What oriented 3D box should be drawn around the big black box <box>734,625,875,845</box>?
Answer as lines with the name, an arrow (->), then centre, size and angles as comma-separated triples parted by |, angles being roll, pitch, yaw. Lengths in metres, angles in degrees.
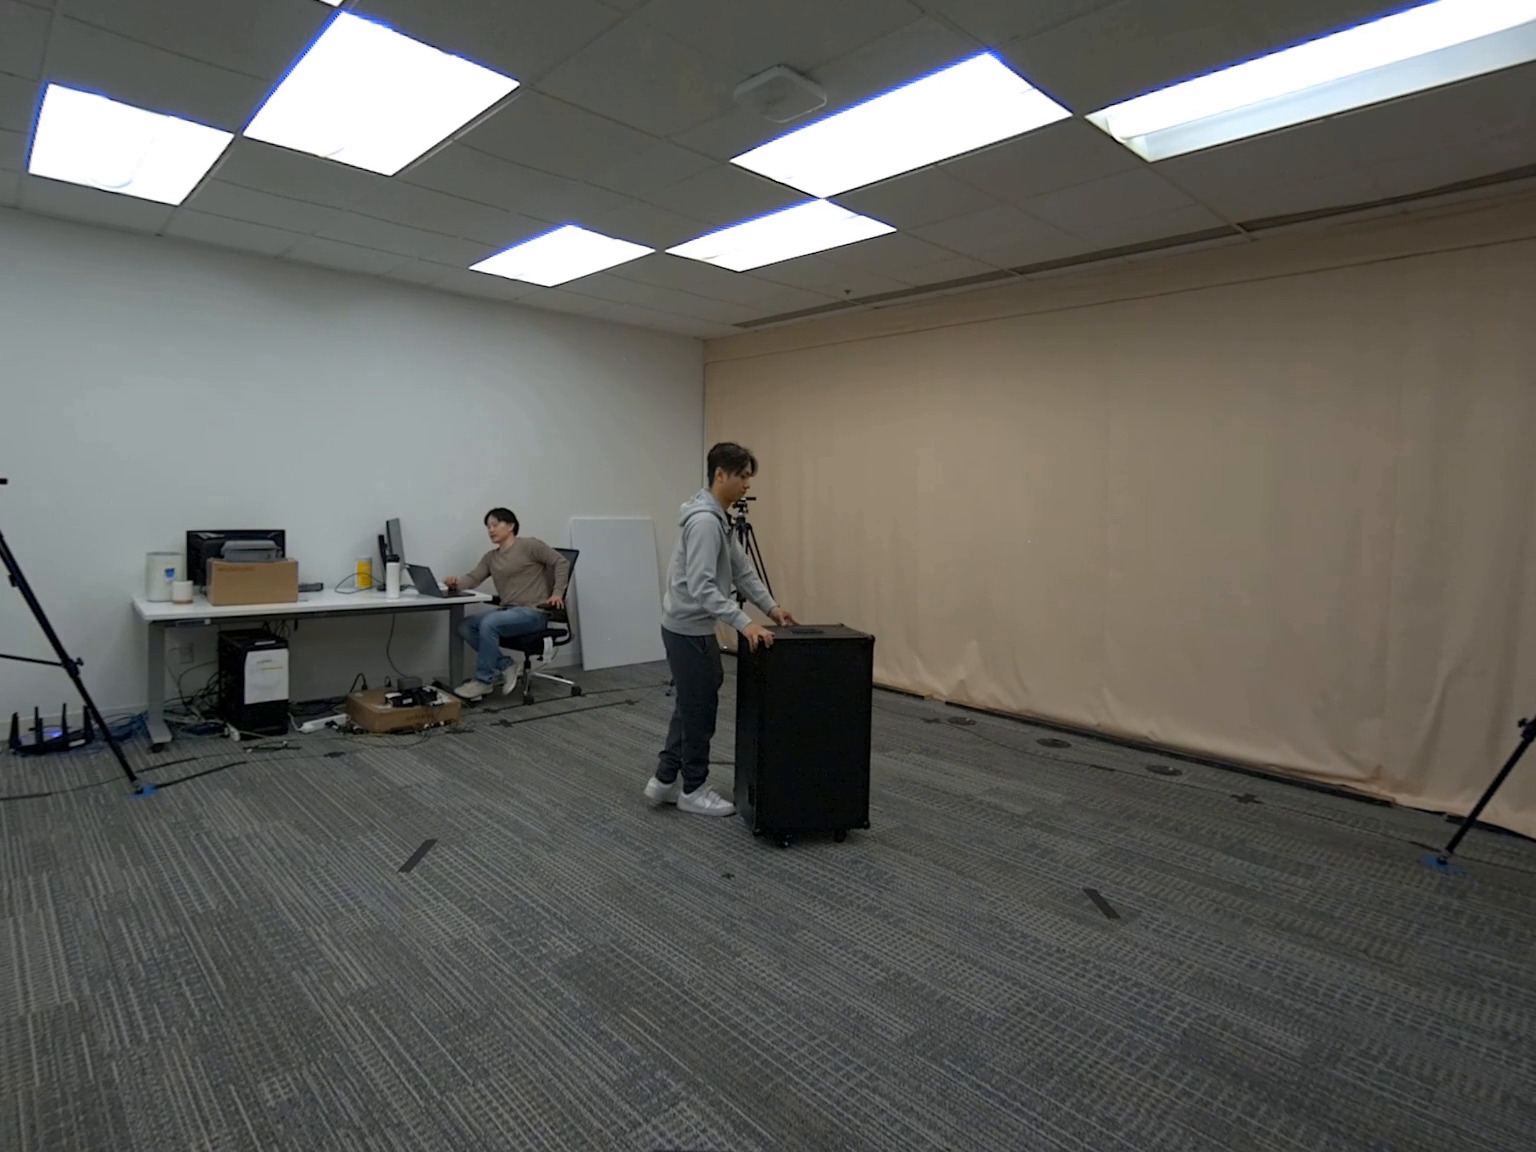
big black box -> 0.121, 0.655, 3.518 | 0.515, 0.860, 0.402 | 0, 2, -16
